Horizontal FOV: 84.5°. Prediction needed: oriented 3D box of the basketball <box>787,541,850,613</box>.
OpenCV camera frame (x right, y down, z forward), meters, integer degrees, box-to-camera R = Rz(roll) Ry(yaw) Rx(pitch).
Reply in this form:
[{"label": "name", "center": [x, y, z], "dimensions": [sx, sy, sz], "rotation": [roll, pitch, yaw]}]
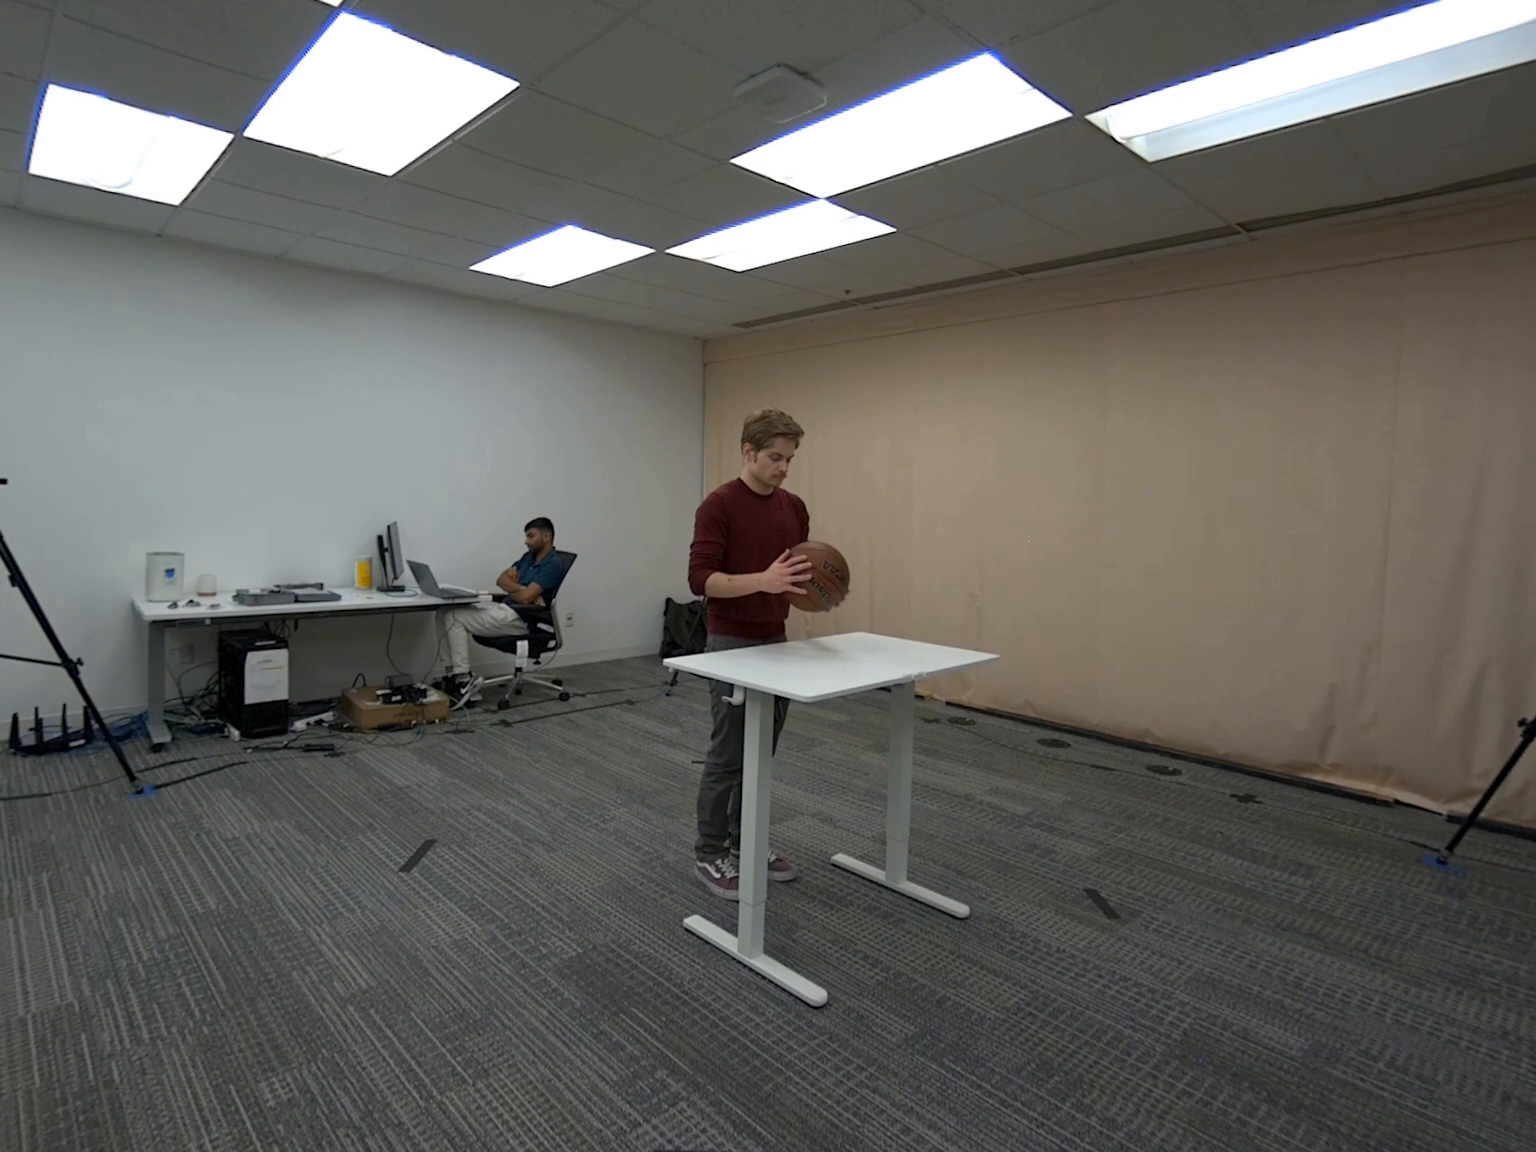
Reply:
[{"label": "basketball", "center": [0.145, -0.003, 2.826], "dimensions": [0.236, 0.235, 0.237], "rotation": [1, 4, -1]}]
